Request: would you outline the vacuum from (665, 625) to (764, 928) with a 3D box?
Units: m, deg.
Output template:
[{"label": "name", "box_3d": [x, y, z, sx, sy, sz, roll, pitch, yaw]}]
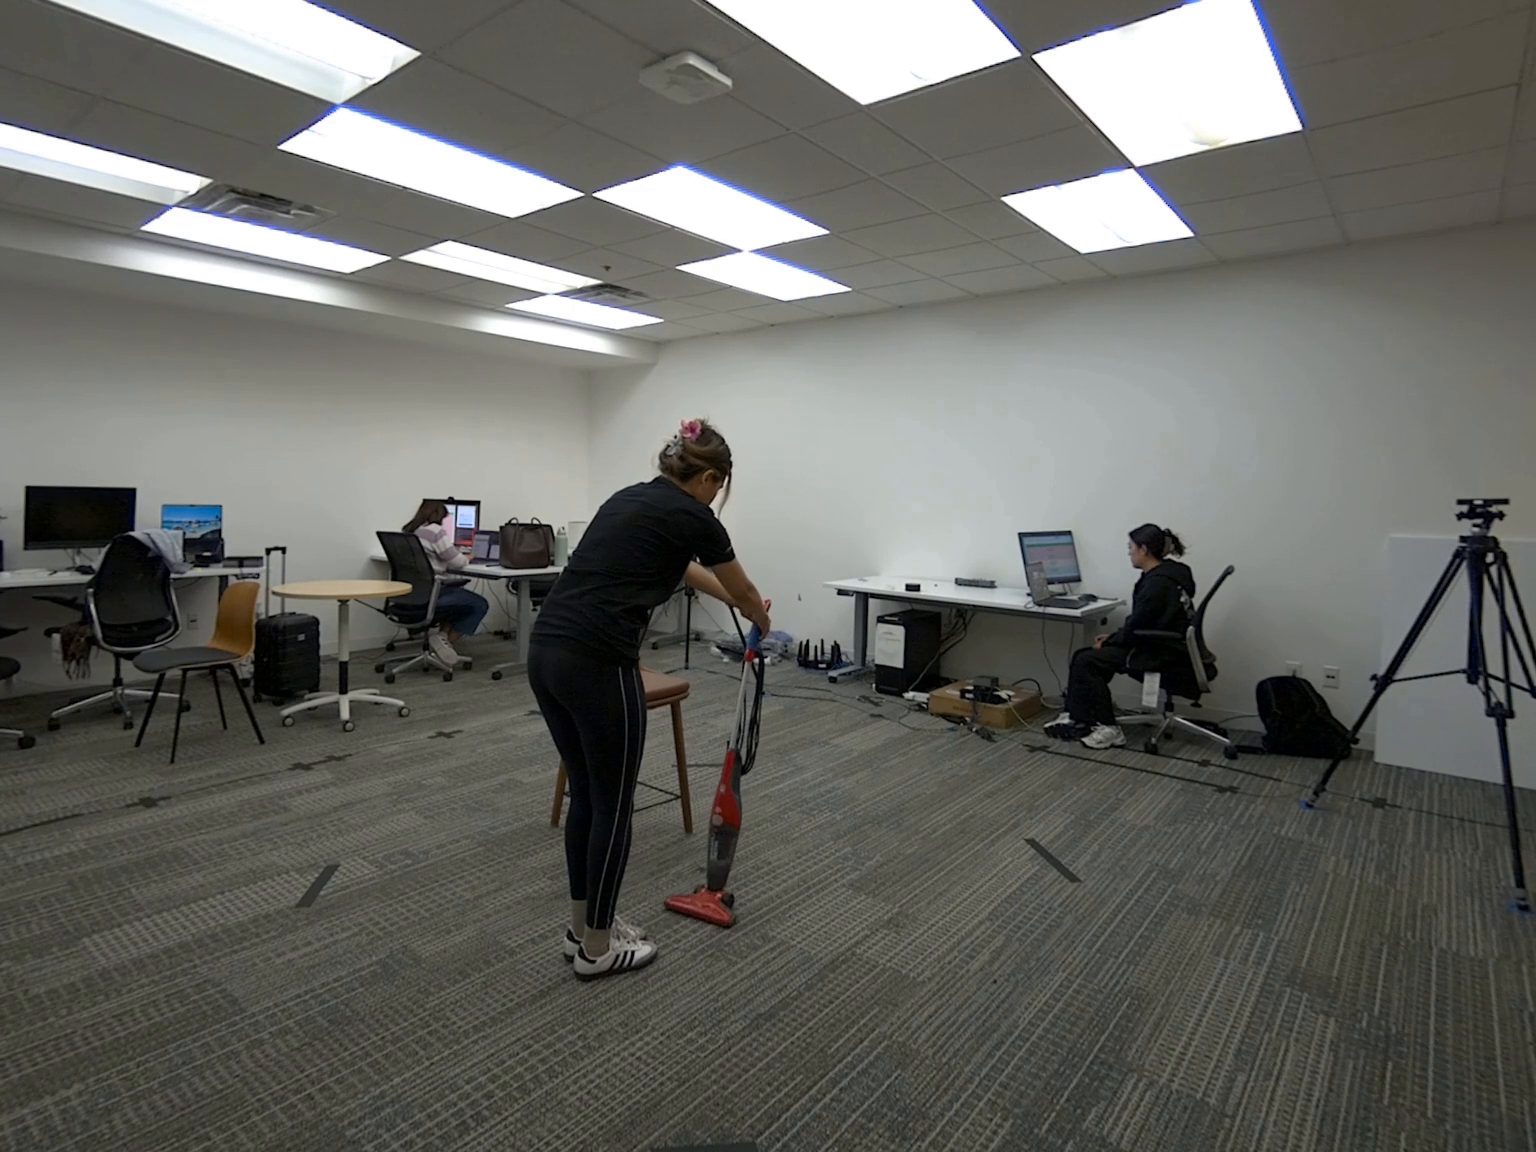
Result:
[{"label": "vacuum", "box_3d": [-0.107, 0.598, 2.924, 0.260, 1.060, 0.138, 3, -17, 30]}]
